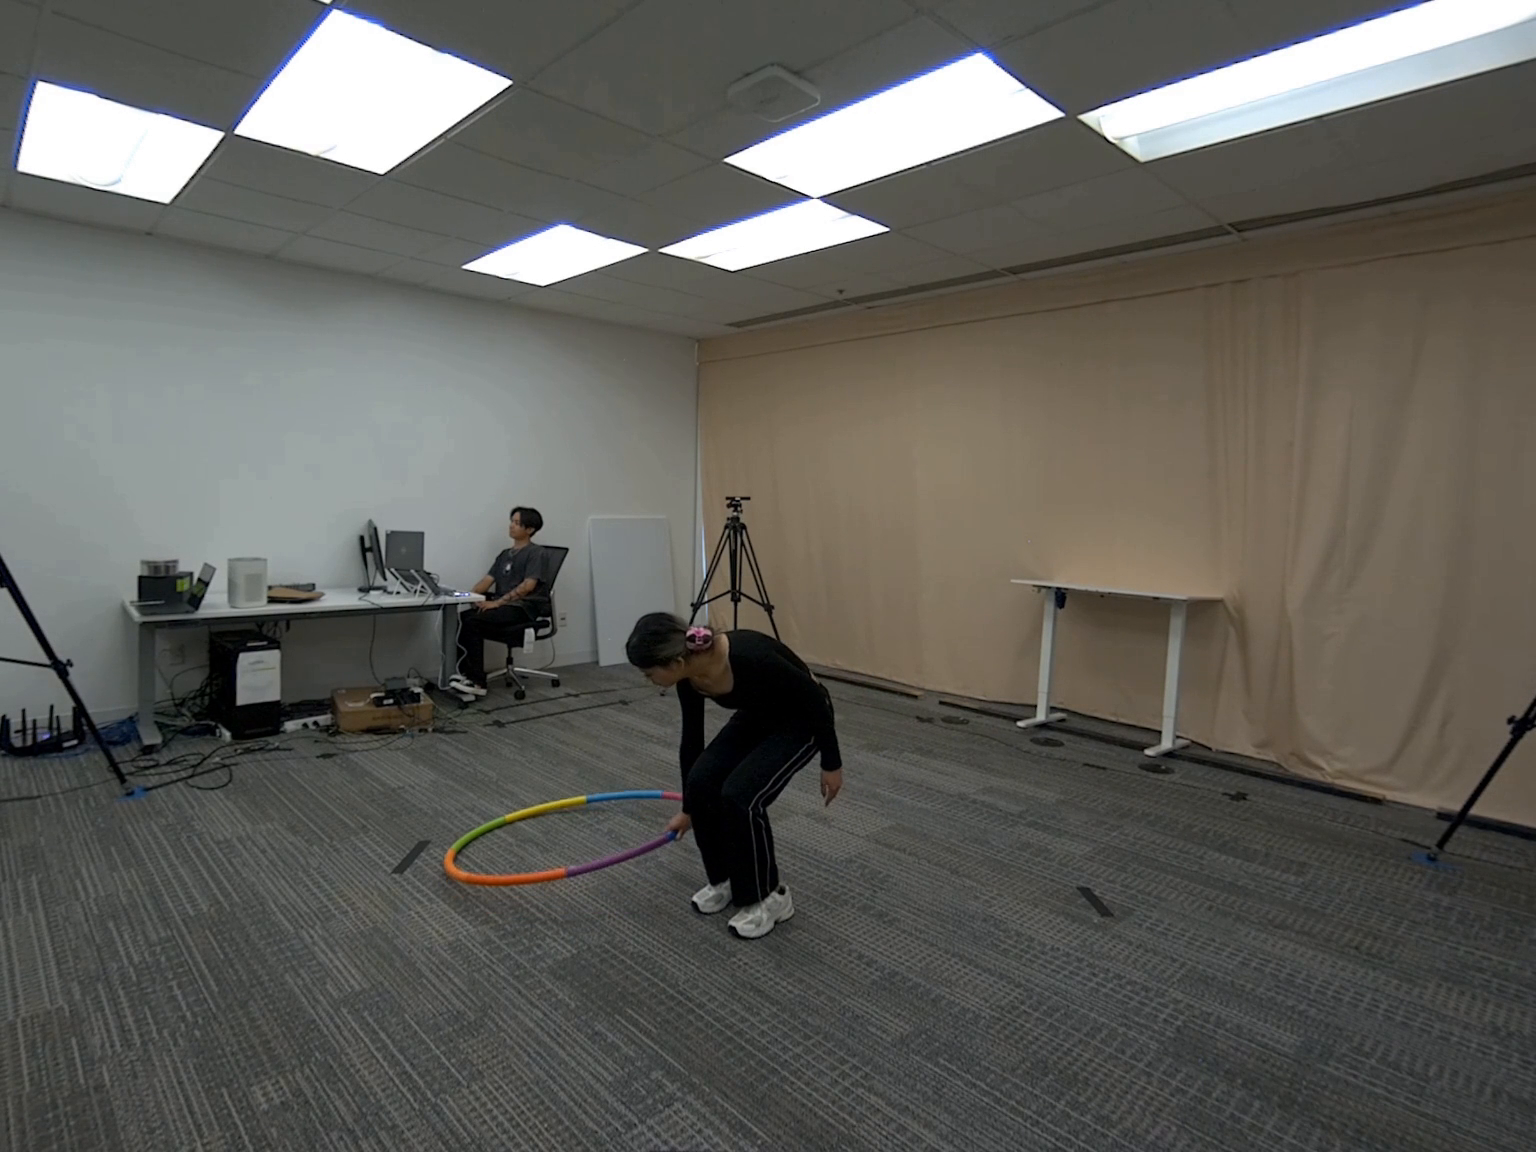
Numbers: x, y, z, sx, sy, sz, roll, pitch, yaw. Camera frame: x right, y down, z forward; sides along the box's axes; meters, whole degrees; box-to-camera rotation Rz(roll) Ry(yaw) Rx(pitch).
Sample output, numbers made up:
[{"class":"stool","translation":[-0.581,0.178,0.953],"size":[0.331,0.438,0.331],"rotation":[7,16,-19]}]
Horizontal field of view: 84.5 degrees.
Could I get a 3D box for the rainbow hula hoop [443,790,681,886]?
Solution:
[{"class":"rainbow hula hoop","translation":[-0.738,0.970,3.237],"size":[0.978,0.035,0.979],"rotation":[-8,1,-1]}]
